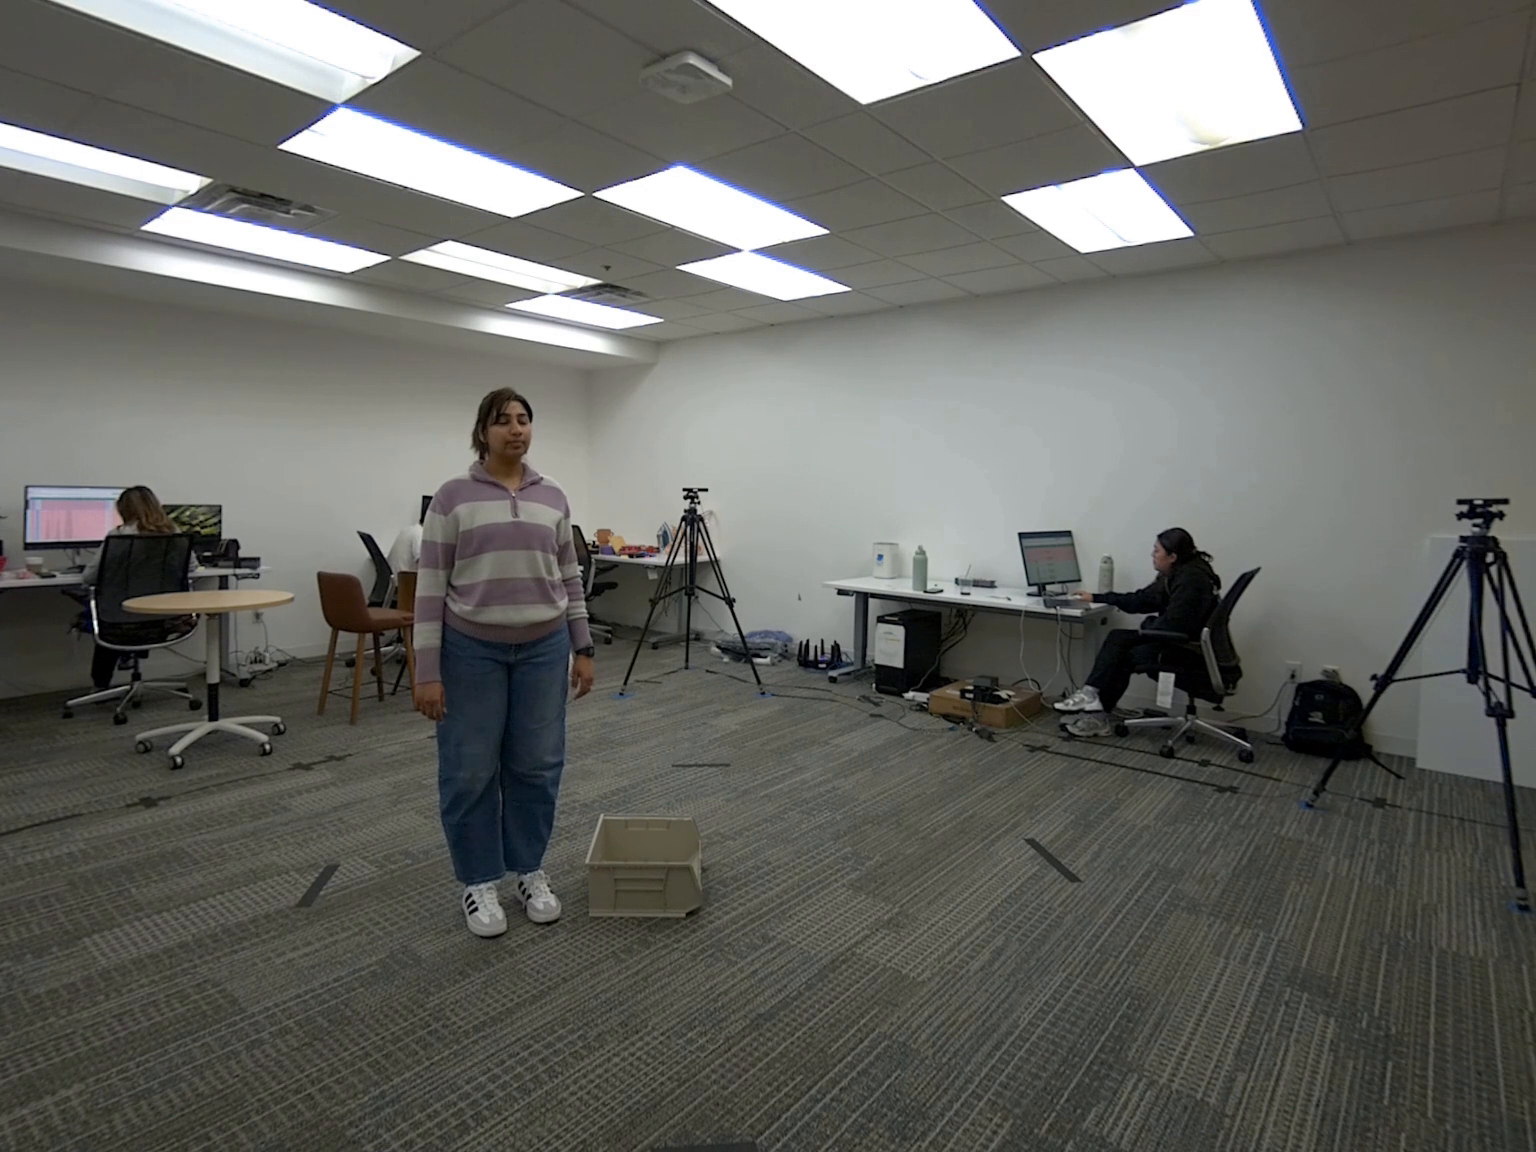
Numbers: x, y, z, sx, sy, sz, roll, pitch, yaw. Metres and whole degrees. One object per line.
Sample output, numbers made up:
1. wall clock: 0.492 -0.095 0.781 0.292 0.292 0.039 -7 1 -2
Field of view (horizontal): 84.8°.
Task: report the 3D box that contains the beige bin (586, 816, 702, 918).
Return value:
1. beige bin: -0.425 0.992 2.946 0.377 0.188 0.425 0 5 -3
